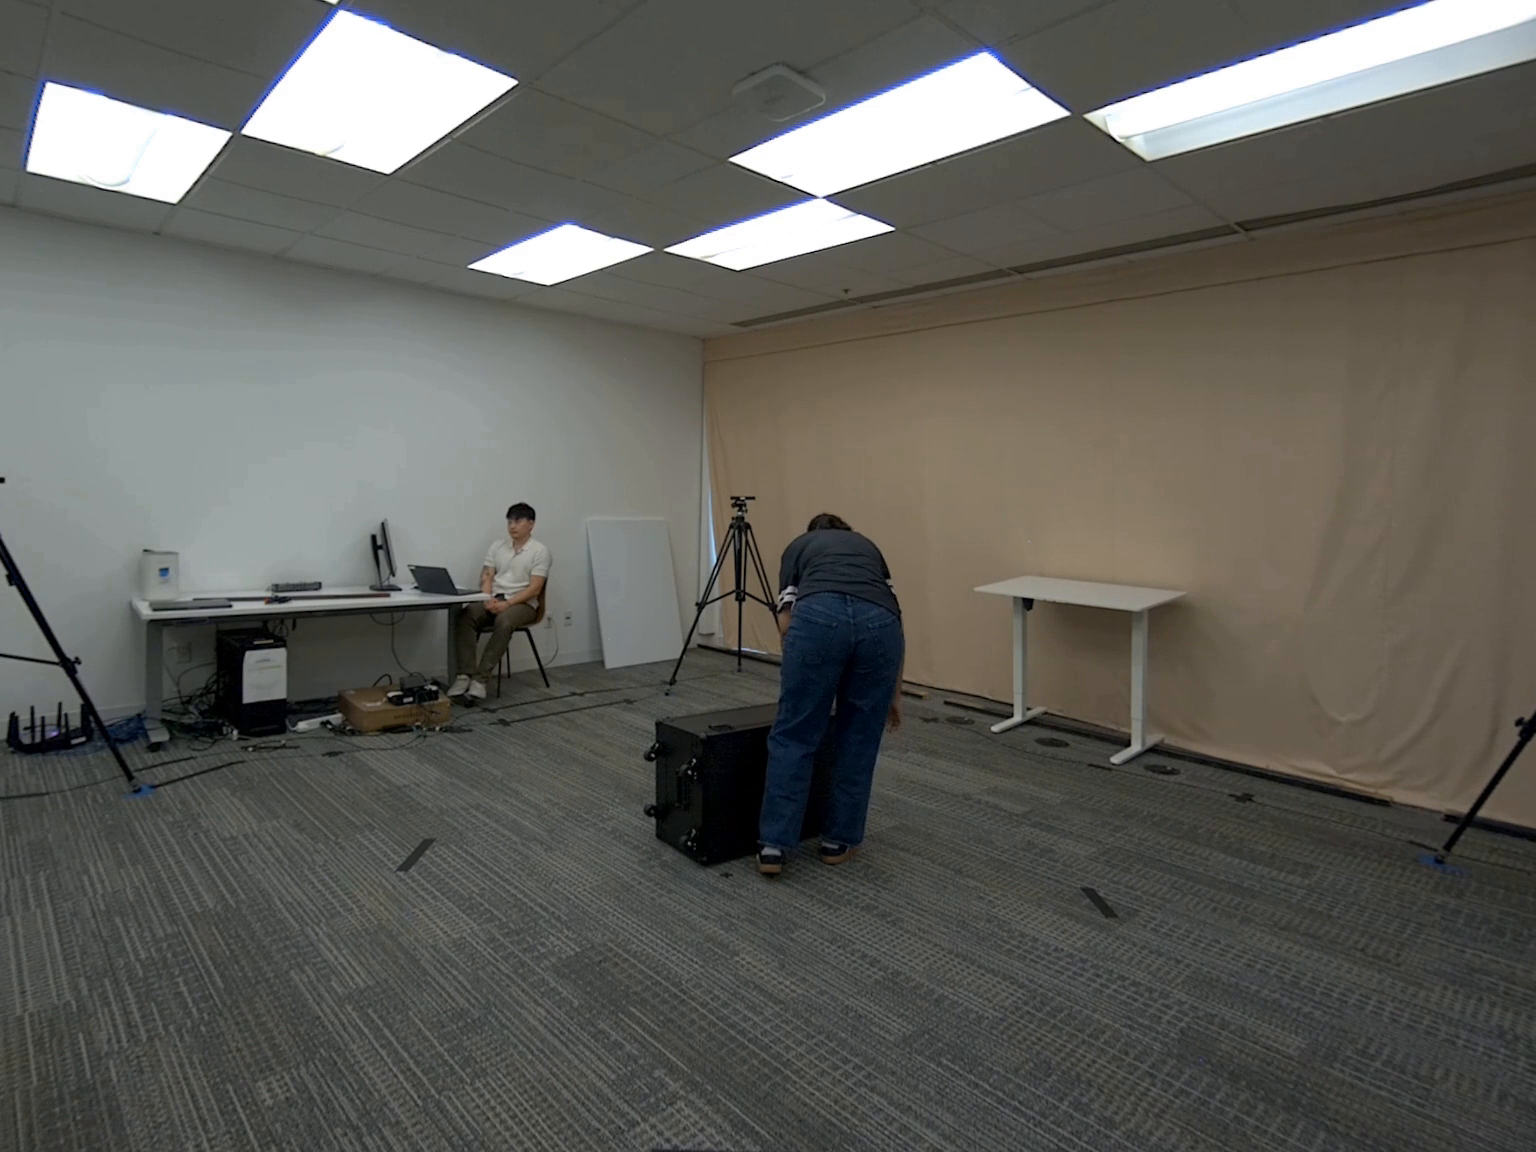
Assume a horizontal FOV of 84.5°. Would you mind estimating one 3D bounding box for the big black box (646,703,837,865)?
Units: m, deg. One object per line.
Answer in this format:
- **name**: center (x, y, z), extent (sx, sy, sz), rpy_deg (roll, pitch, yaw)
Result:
- **big black box**: center (-0.082, 0.814, 3.492), extent (0.849, 0.522, 0.395), rpy_deg (-2, 4, -37)
